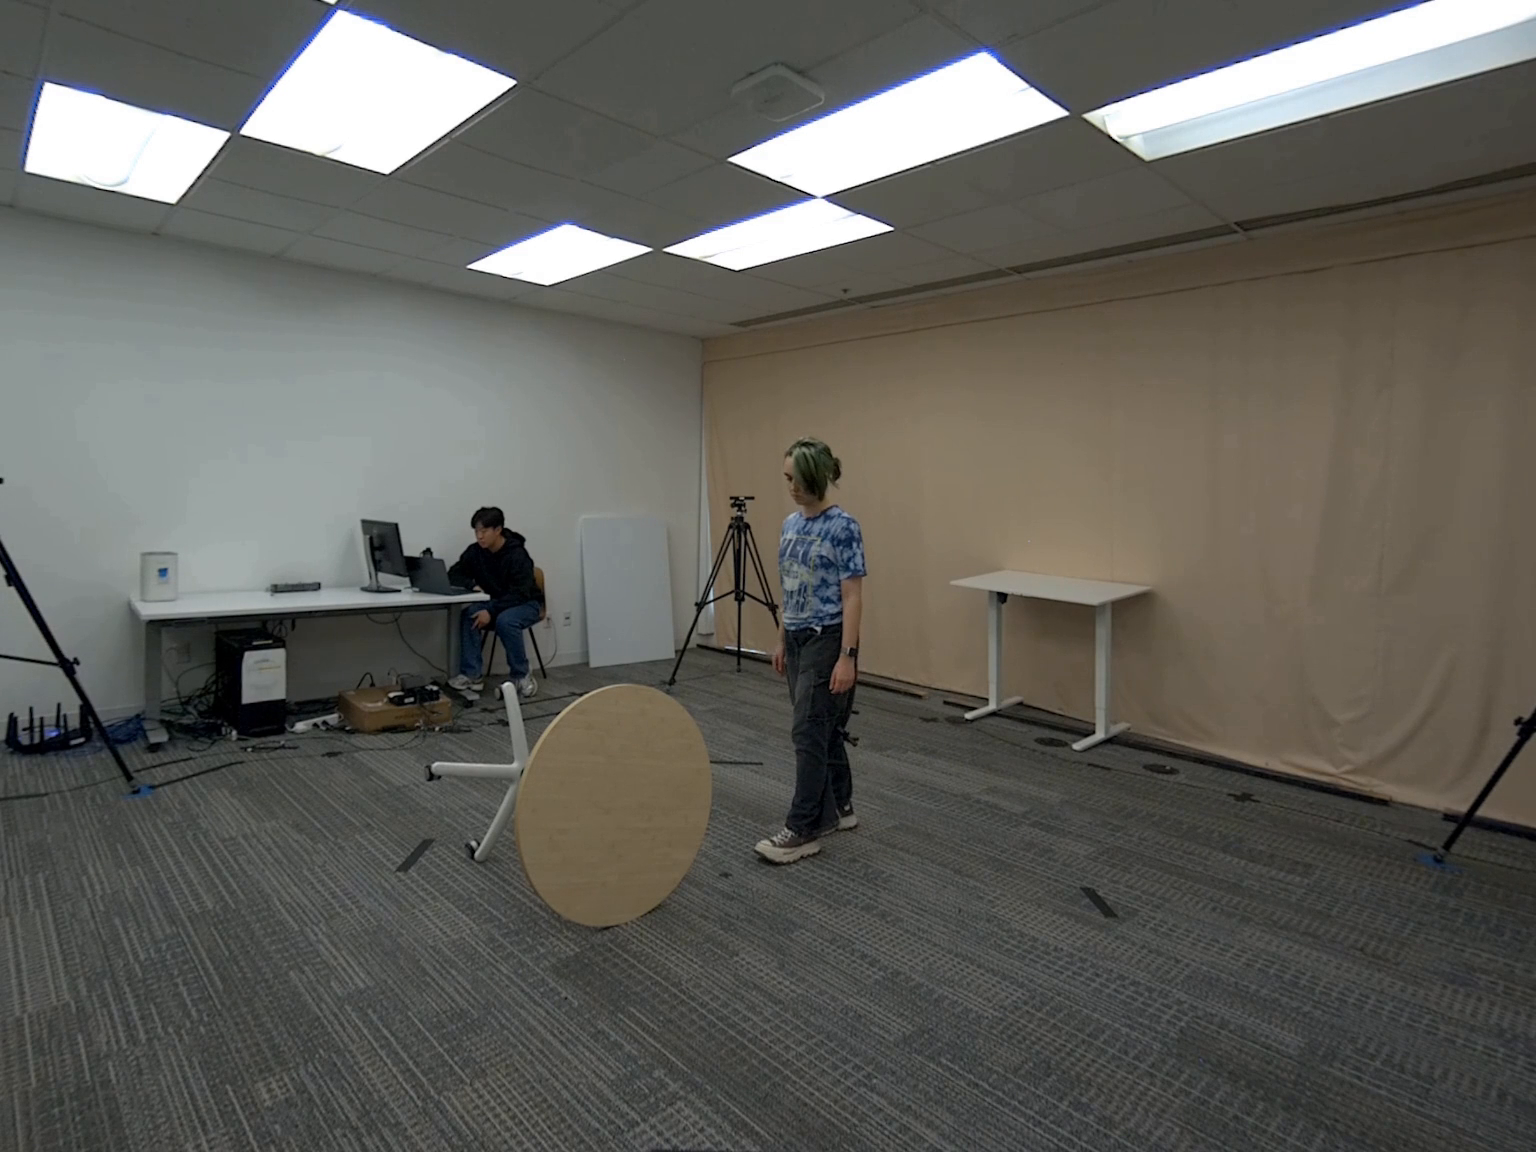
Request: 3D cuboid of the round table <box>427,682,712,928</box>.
[{"bbox_3d":[-0.755,0.754,3.055,0.746,0.764,0.811,-3,0,-43],"label":"round table"}]
